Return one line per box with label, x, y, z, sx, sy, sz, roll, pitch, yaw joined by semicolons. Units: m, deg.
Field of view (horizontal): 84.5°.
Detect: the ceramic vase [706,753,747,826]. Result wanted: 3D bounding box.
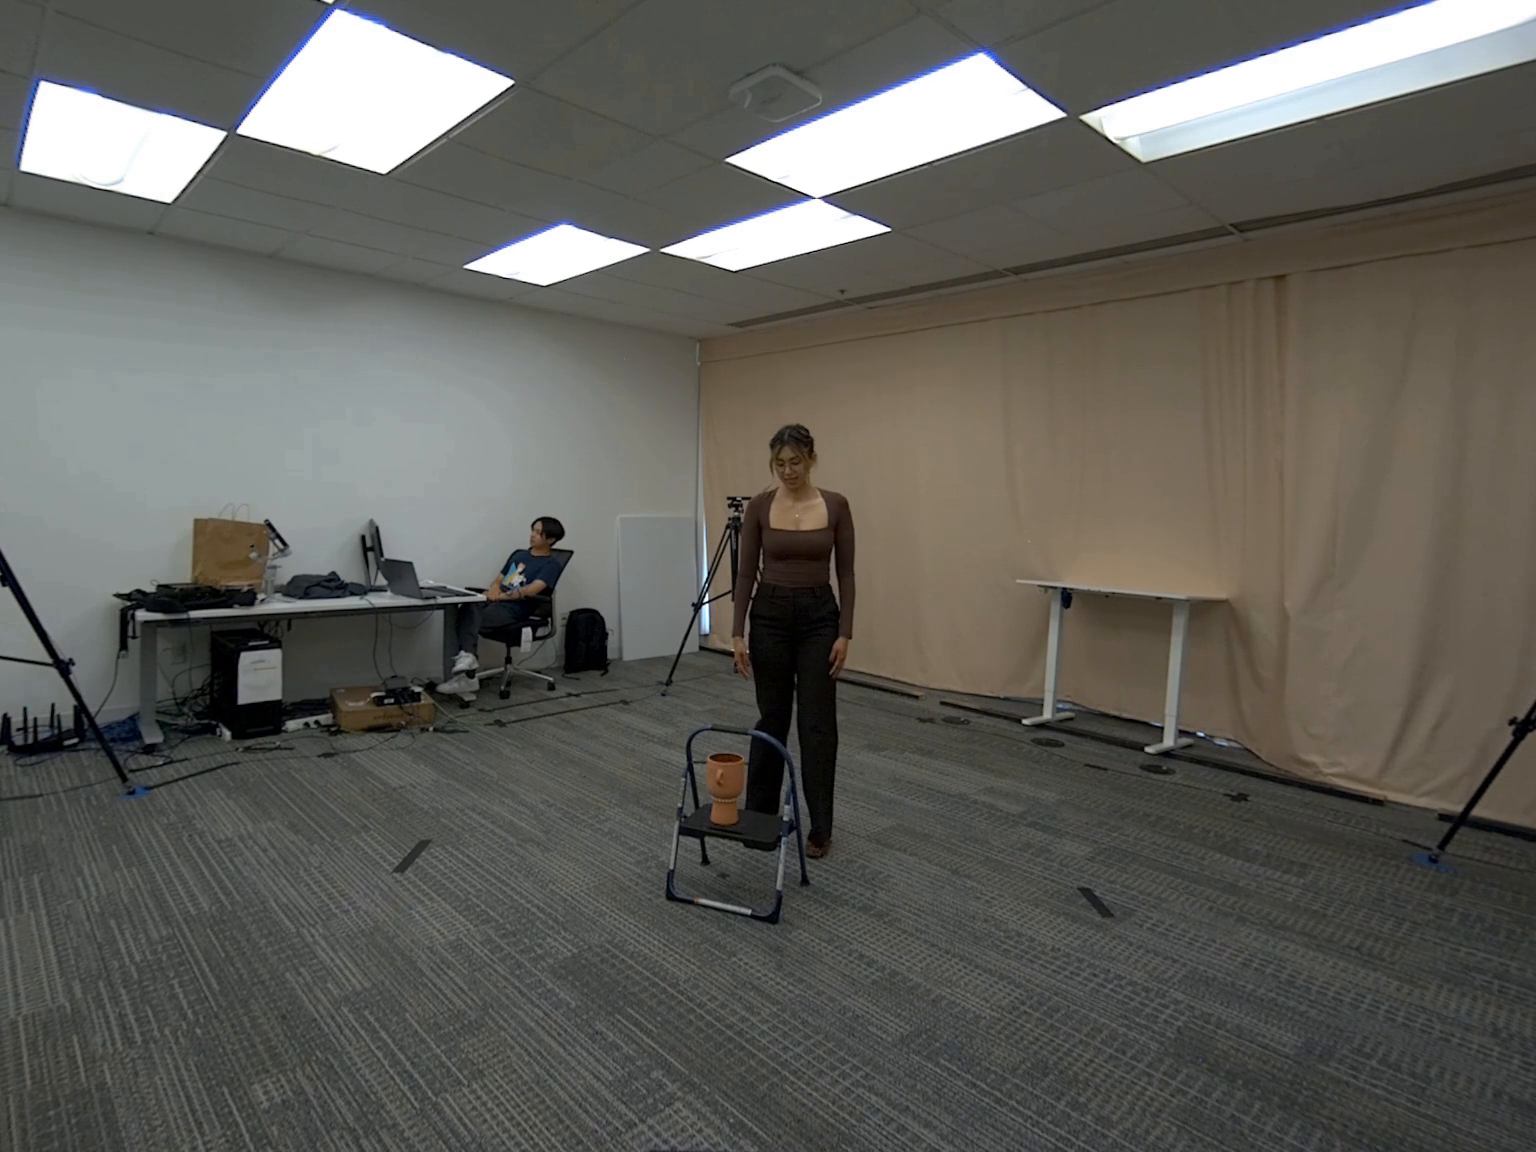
ceramic vase;-0.161;0.751;2.950;0.155;0.219;0.138;-1;4;-36
